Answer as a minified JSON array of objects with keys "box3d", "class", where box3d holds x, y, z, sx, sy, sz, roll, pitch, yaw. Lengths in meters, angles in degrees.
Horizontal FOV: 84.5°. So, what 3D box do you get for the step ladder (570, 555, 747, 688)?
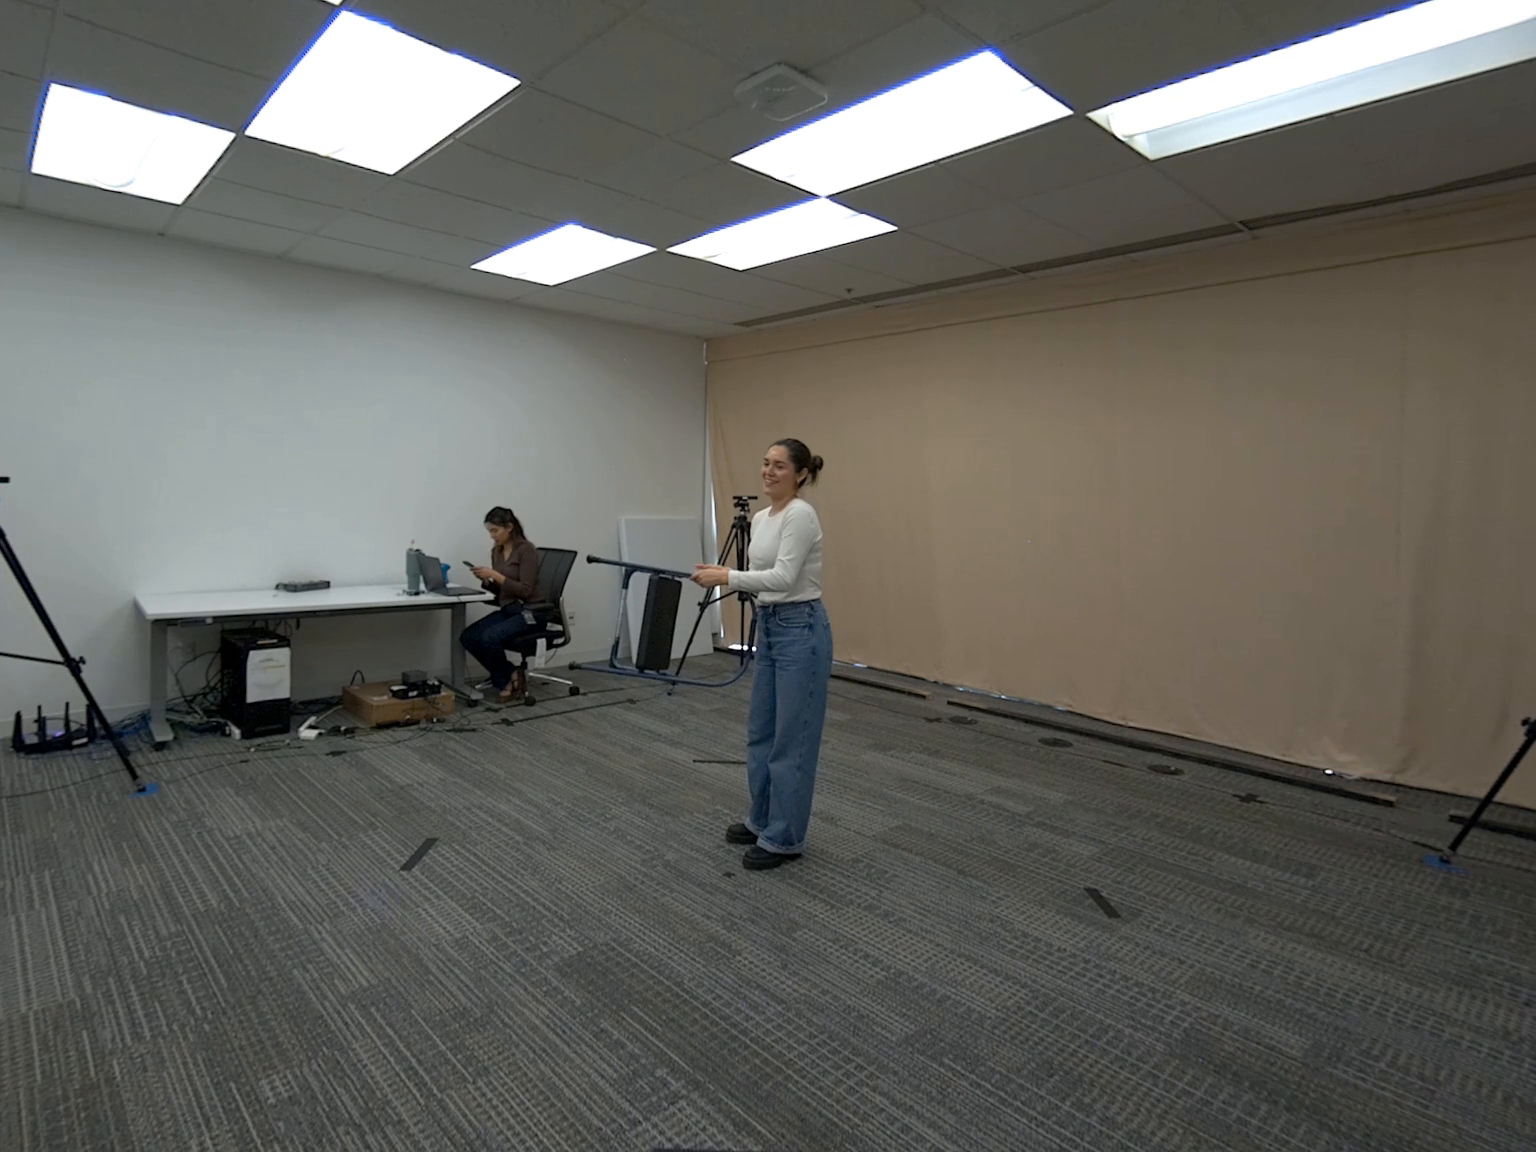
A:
[{"box3d":[-0.368,0.175,3.141,0.616,0.432,0.343,9,-4,18],"class":"step ladder"}]
